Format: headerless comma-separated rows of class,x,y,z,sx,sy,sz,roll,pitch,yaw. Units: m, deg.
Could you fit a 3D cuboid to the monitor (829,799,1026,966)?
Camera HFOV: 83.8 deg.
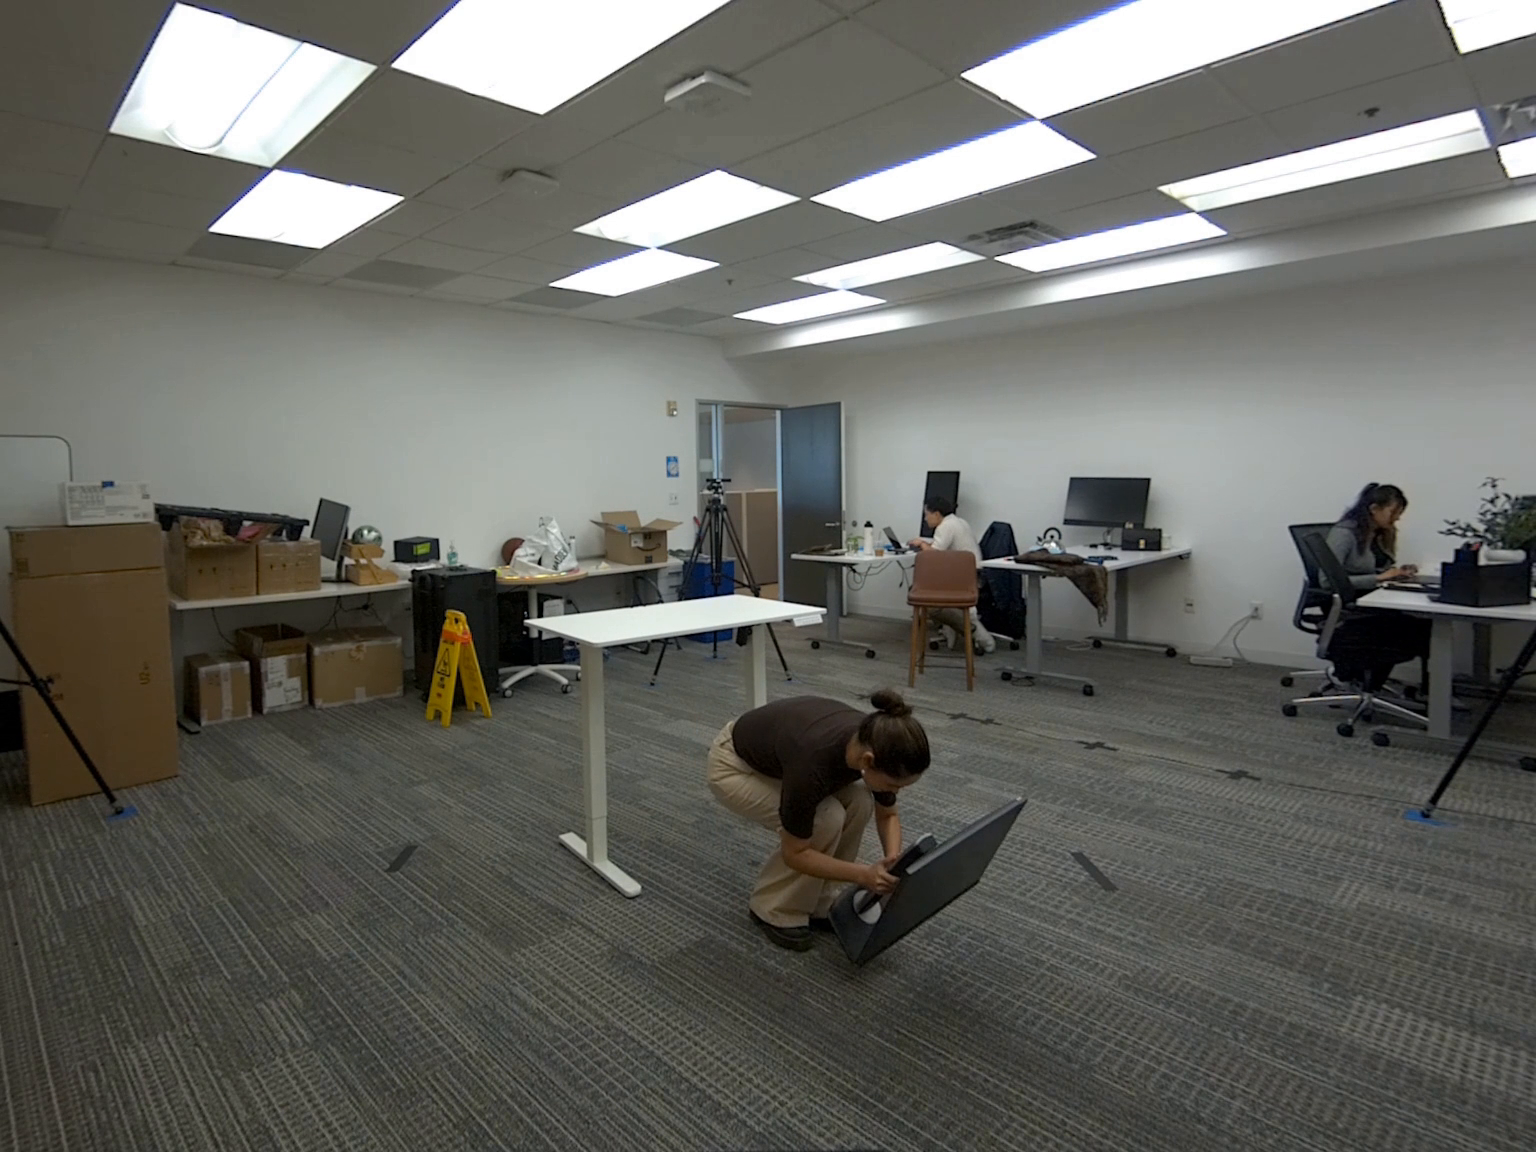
monitor,0.401,0.825,2.280,0.528,0.193,0.518,-16,-32,-43
